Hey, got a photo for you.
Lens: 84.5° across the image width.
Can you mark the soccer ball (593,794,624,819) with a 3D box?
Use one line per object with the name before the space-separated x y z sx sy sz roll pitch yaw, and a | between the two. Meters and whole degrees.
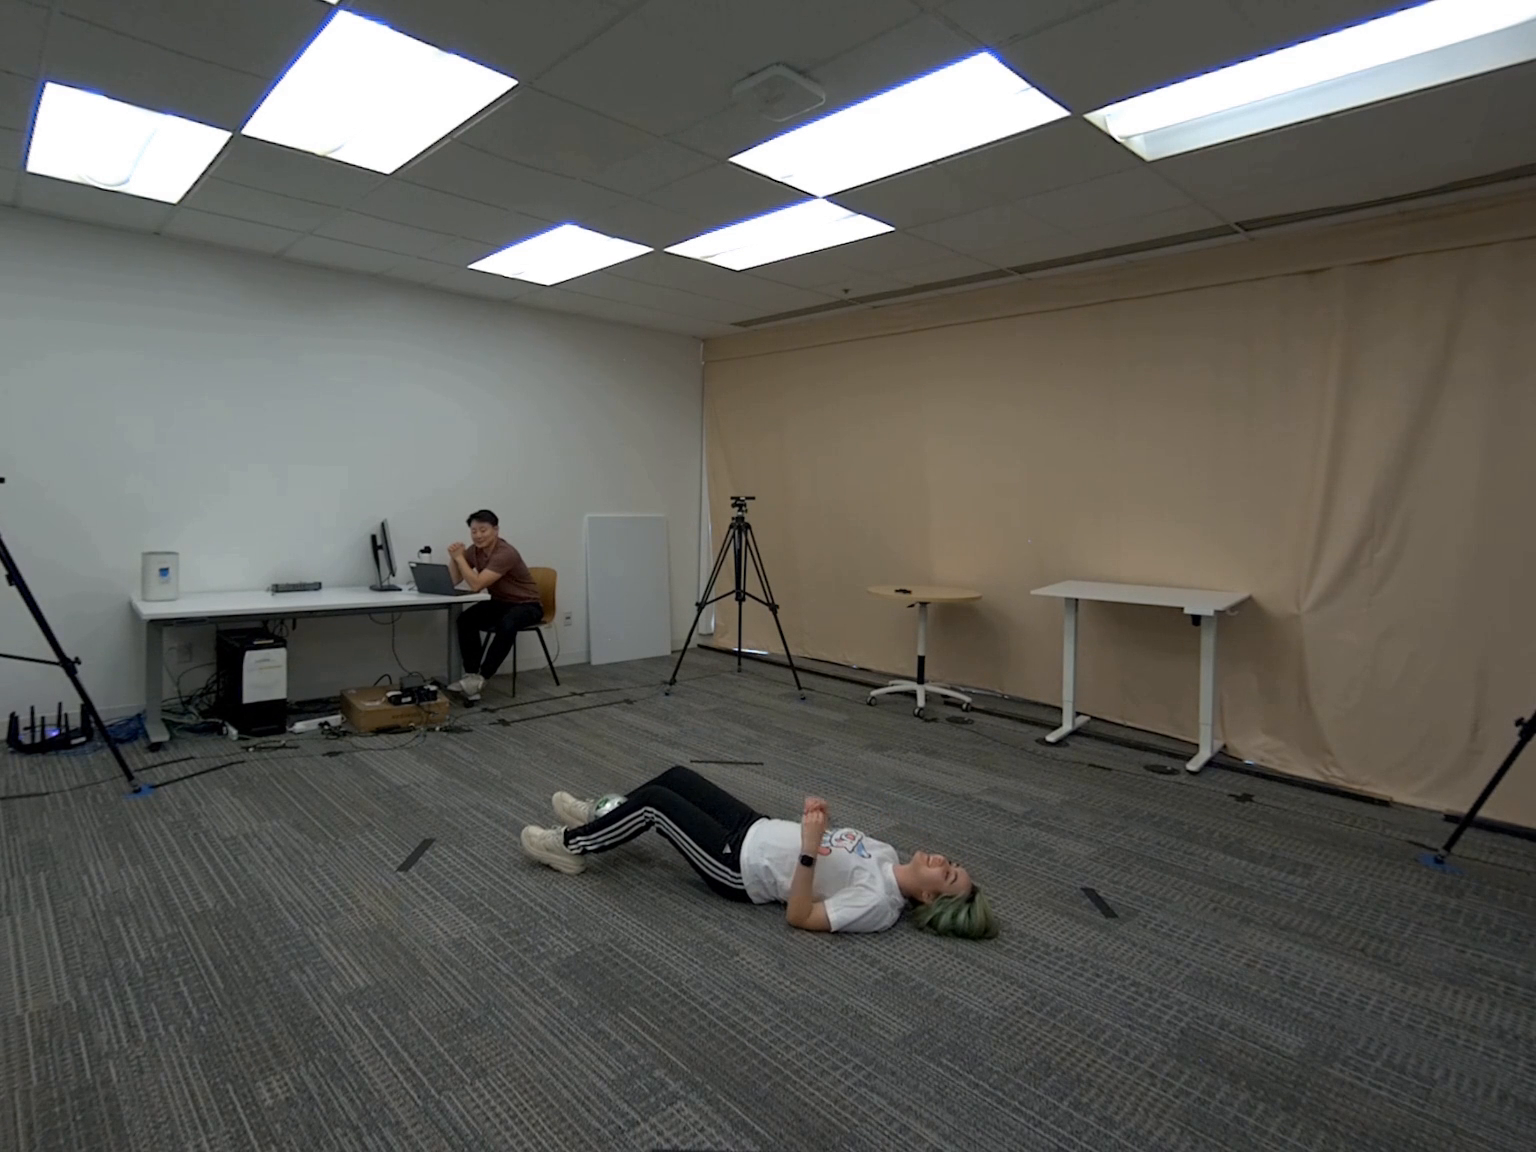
soccer ball | -0.583 0.927 3.187 0.187 0.187 0.188 1 4 -1
